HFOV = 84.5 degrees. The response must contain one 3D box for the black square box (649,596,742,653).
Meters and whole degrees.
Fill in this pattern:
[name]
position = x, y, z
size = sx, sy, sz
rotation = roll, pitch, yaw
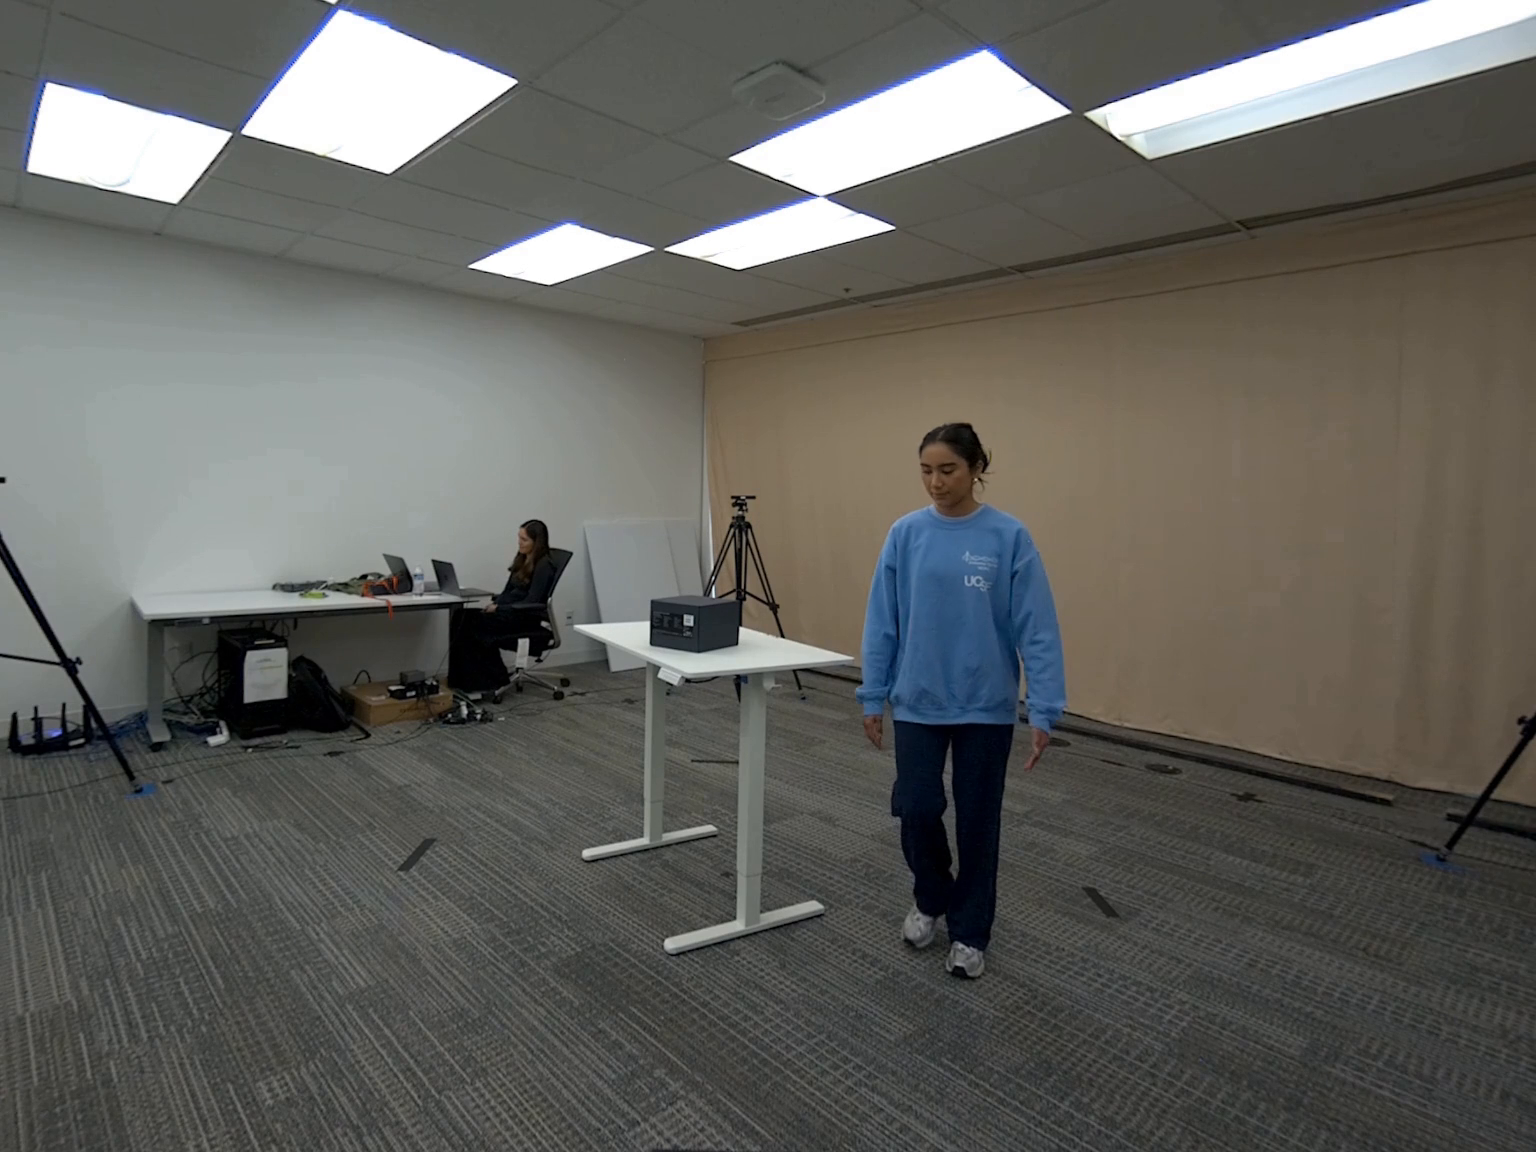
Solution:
[black square box]
position = -0.251, 0.159, 2.868
size = 0.222, 0.155, 0.223
rotation = 4, 5, 34
